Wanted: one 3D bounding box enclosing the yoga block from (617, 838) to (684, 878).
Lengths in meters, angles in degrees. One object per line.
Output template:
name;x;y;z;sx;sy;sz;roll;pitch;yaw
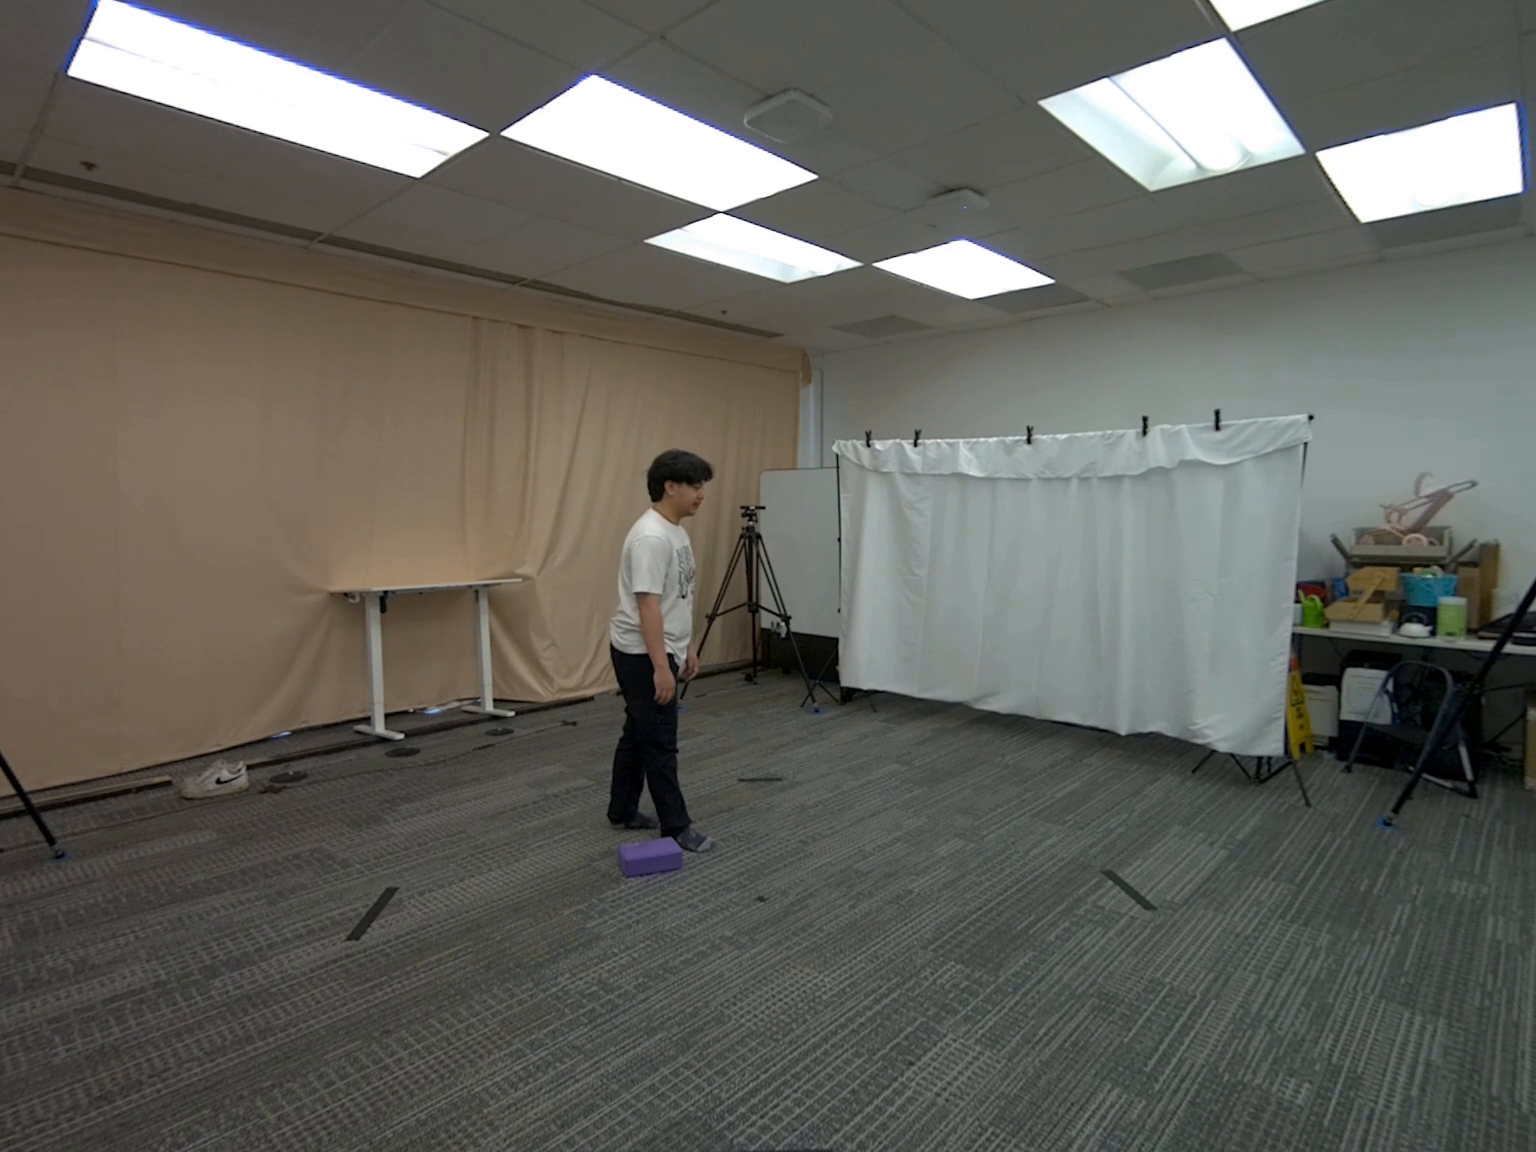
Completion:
yoga block;-0.456;1.080;3.260;0.225;0.076;0.152;-3;6;-20
